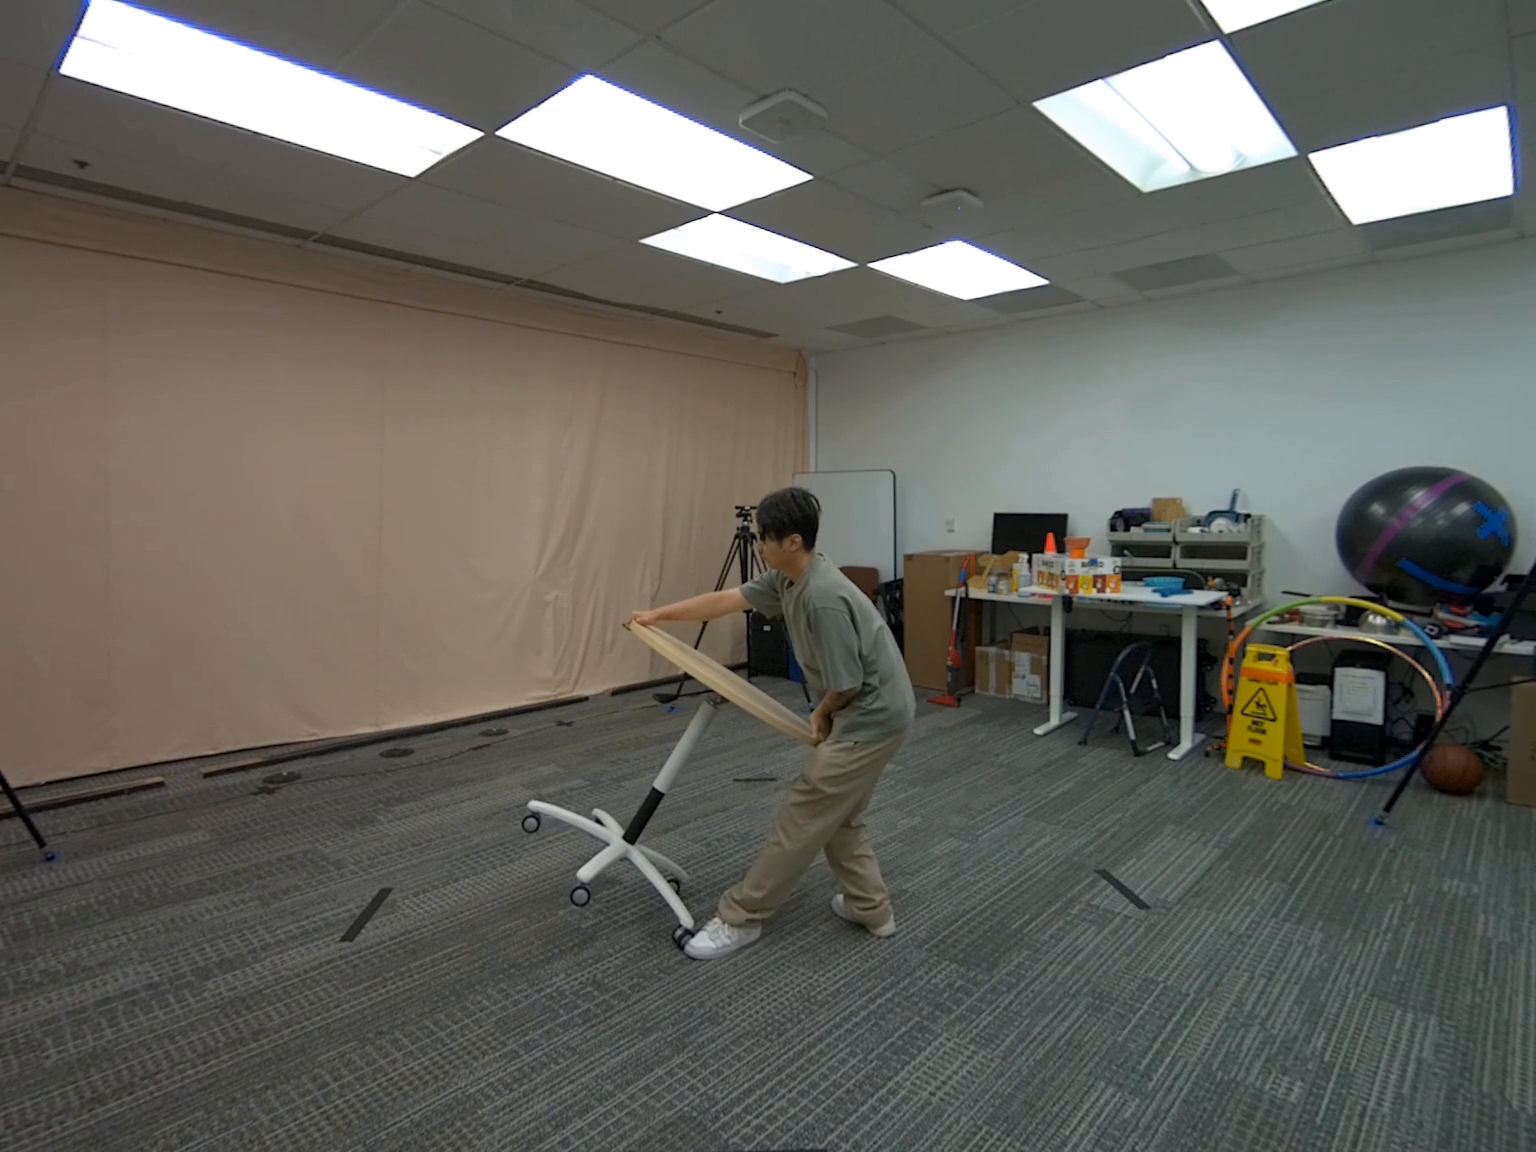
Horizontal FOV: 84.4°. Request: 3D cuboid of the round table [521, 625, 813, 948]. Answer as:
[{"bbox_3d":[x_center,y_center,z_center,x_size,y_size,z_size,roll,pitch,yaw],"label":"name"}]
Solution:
[{"bbox_3d":[-0.350,0.674,2.838,0.786,0.786,0.784,31,-3,0],"label":"round table"}]
